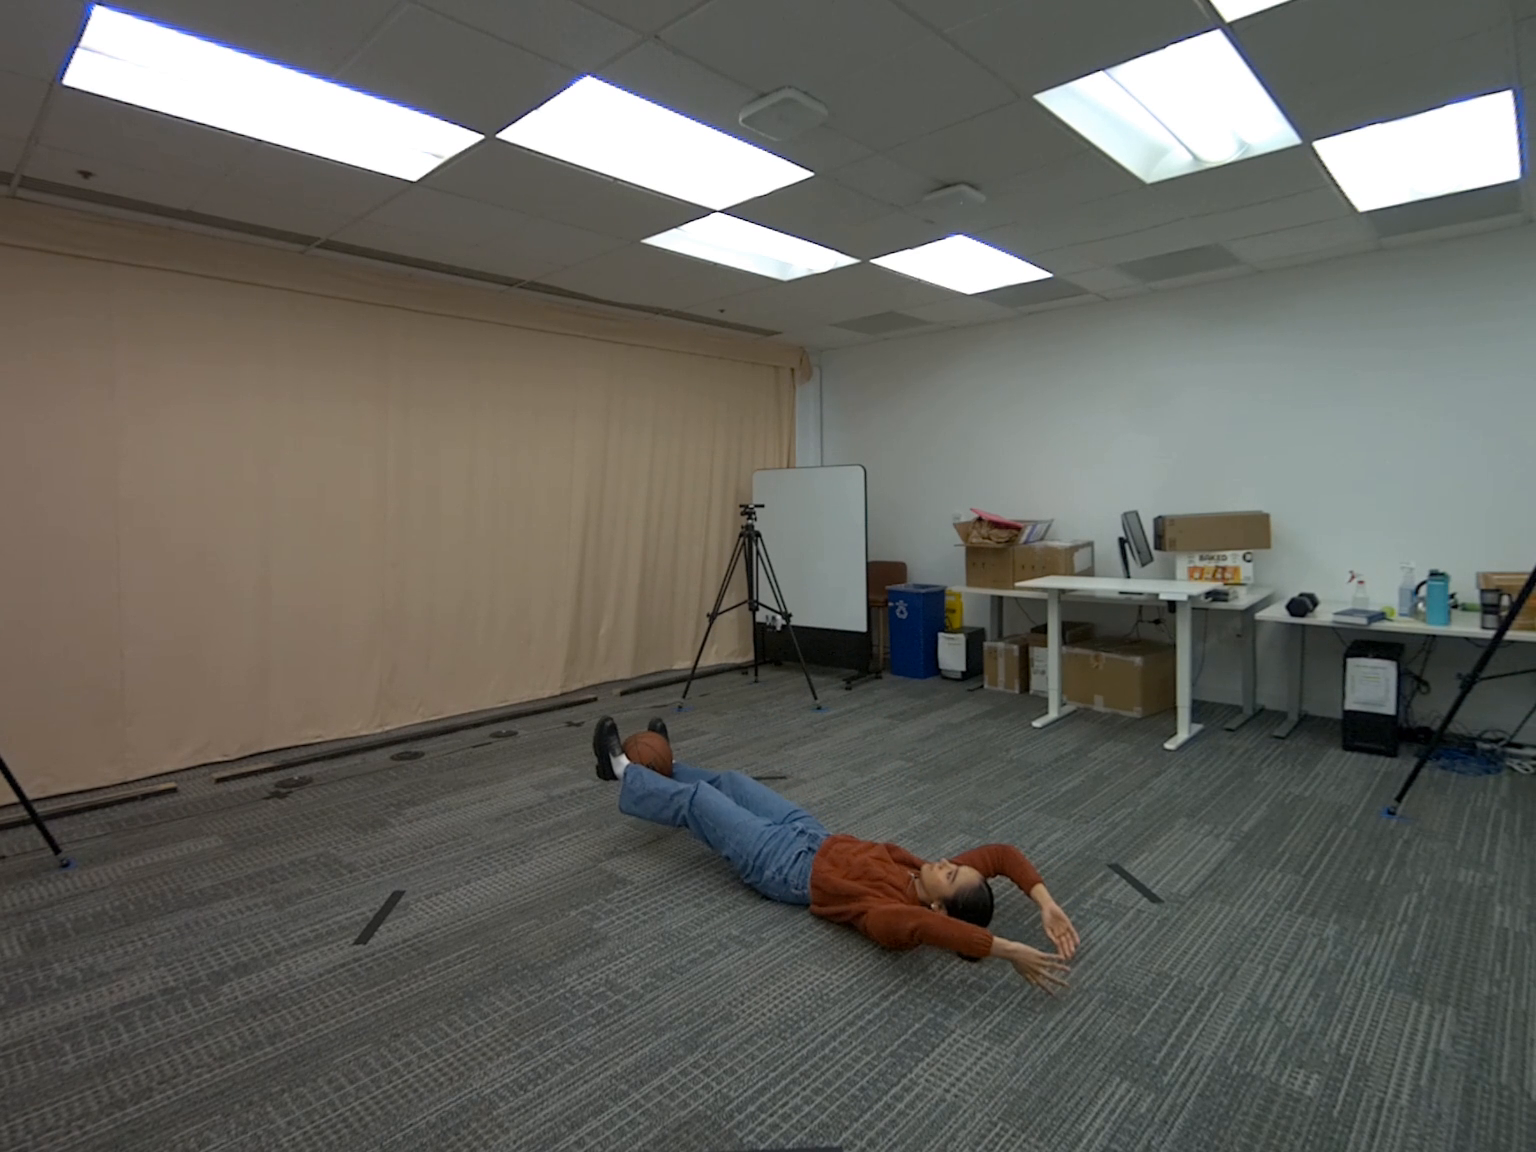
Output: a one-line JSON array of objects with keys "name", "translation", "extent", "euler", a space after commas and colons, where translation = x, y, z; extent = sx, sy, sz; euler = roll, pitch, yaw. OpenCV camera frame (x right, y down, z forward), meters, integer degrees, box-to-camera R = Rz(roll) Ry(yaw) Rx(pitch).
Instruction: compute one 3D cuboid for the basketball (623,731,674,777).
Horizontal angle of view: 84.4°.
[{"name": "basketball", "translation": [-0.525, 0.778, 3.545], "extent": [0.235, 0.235, 0.237], "euler": [2, 5, -2]}]
